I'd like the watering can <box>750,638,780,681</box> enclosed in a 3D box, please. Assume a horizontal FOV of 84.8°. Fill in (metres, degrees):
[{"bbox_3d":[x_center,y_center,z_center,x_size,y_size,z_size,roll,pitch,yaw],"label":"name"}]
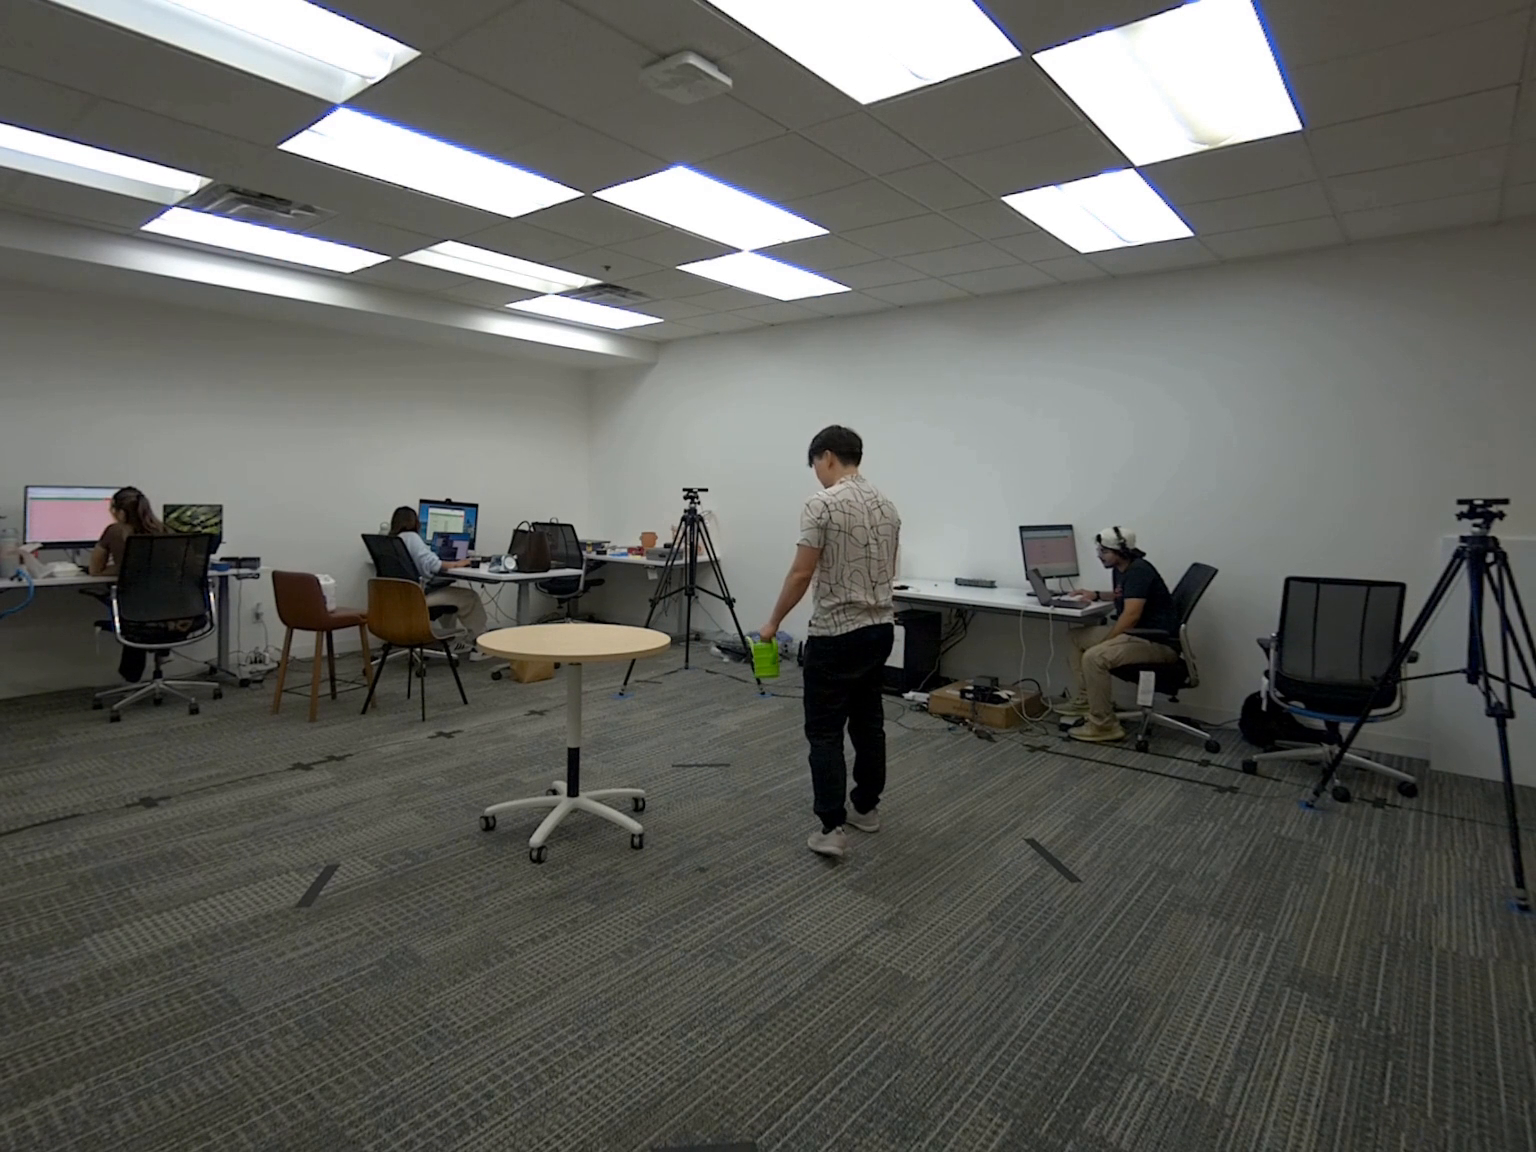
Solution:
[{"bbox_3d":[-0.020,0.329,3.495,0.097,0.178,0.279,0,-7,-12],"label":"watering can"}]
